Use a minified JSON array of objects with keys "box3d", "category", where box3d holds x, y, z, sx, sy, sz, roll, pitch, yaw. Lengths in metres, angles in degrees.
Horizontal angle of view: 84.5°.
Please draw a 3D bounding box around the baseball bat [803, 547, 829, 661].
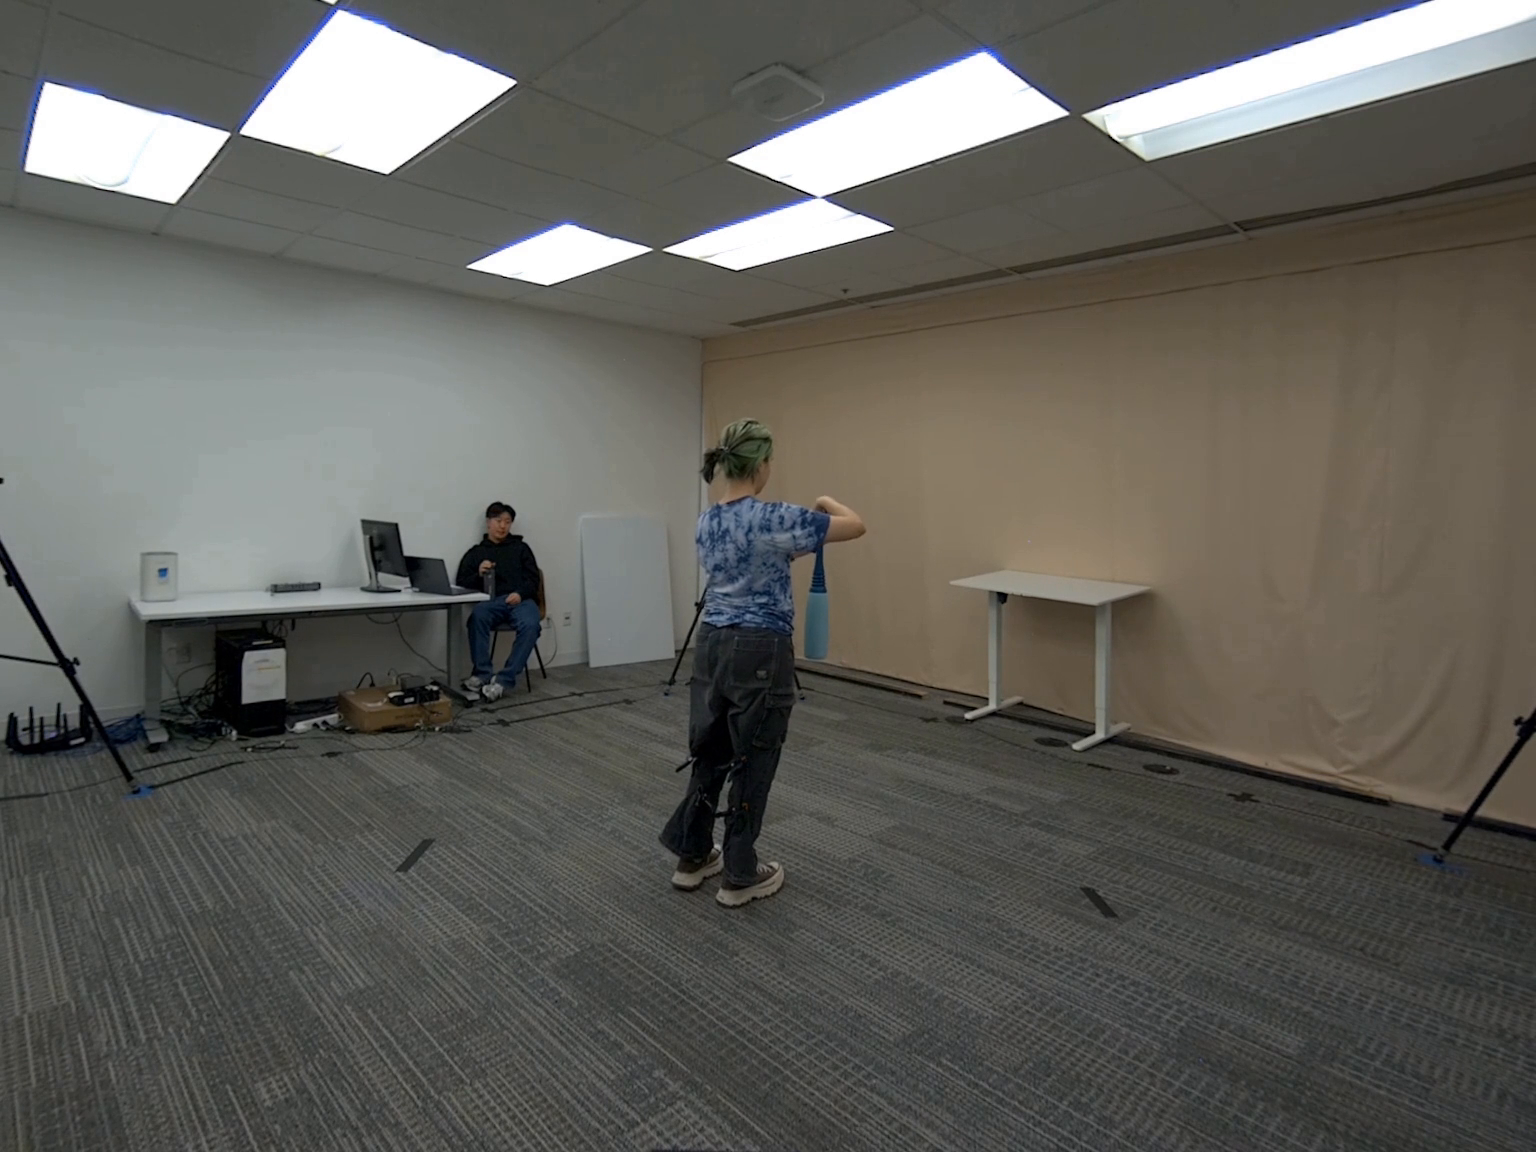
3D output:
[{"box3d":[0.183,0.043,3.129,0.089,0.541,0.089,-1,4,-1],"category":"baseball bat"}]
